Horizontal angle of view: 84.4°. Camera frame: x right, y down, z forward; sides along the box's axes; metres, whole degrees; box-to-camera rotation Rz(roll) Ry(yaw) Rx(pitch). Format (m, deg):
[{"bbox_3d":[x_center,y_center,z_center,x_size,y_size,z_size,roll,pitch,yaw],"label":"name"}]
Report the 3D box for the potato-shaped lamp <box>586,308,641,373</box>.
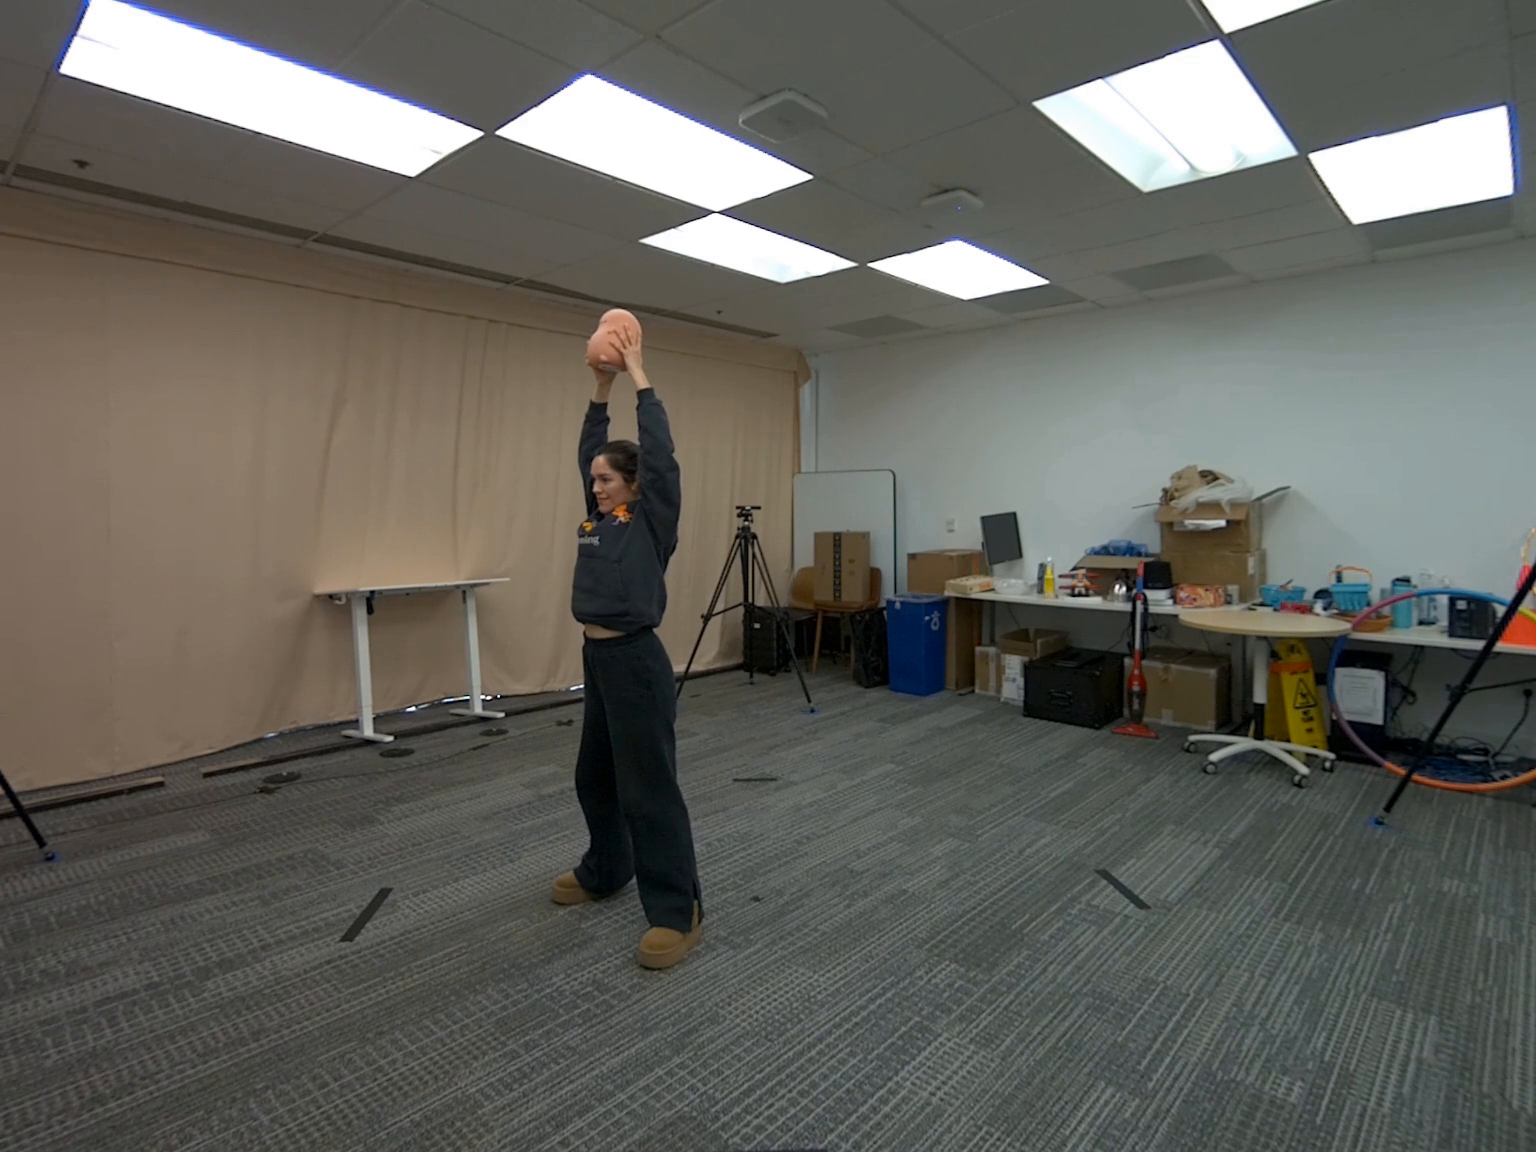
[{"bbox_3d":[-0.498,-0.771,2.752,0.166,0.198,0.170,5,0,-37],"label":"potato-shaped lamp"}]
